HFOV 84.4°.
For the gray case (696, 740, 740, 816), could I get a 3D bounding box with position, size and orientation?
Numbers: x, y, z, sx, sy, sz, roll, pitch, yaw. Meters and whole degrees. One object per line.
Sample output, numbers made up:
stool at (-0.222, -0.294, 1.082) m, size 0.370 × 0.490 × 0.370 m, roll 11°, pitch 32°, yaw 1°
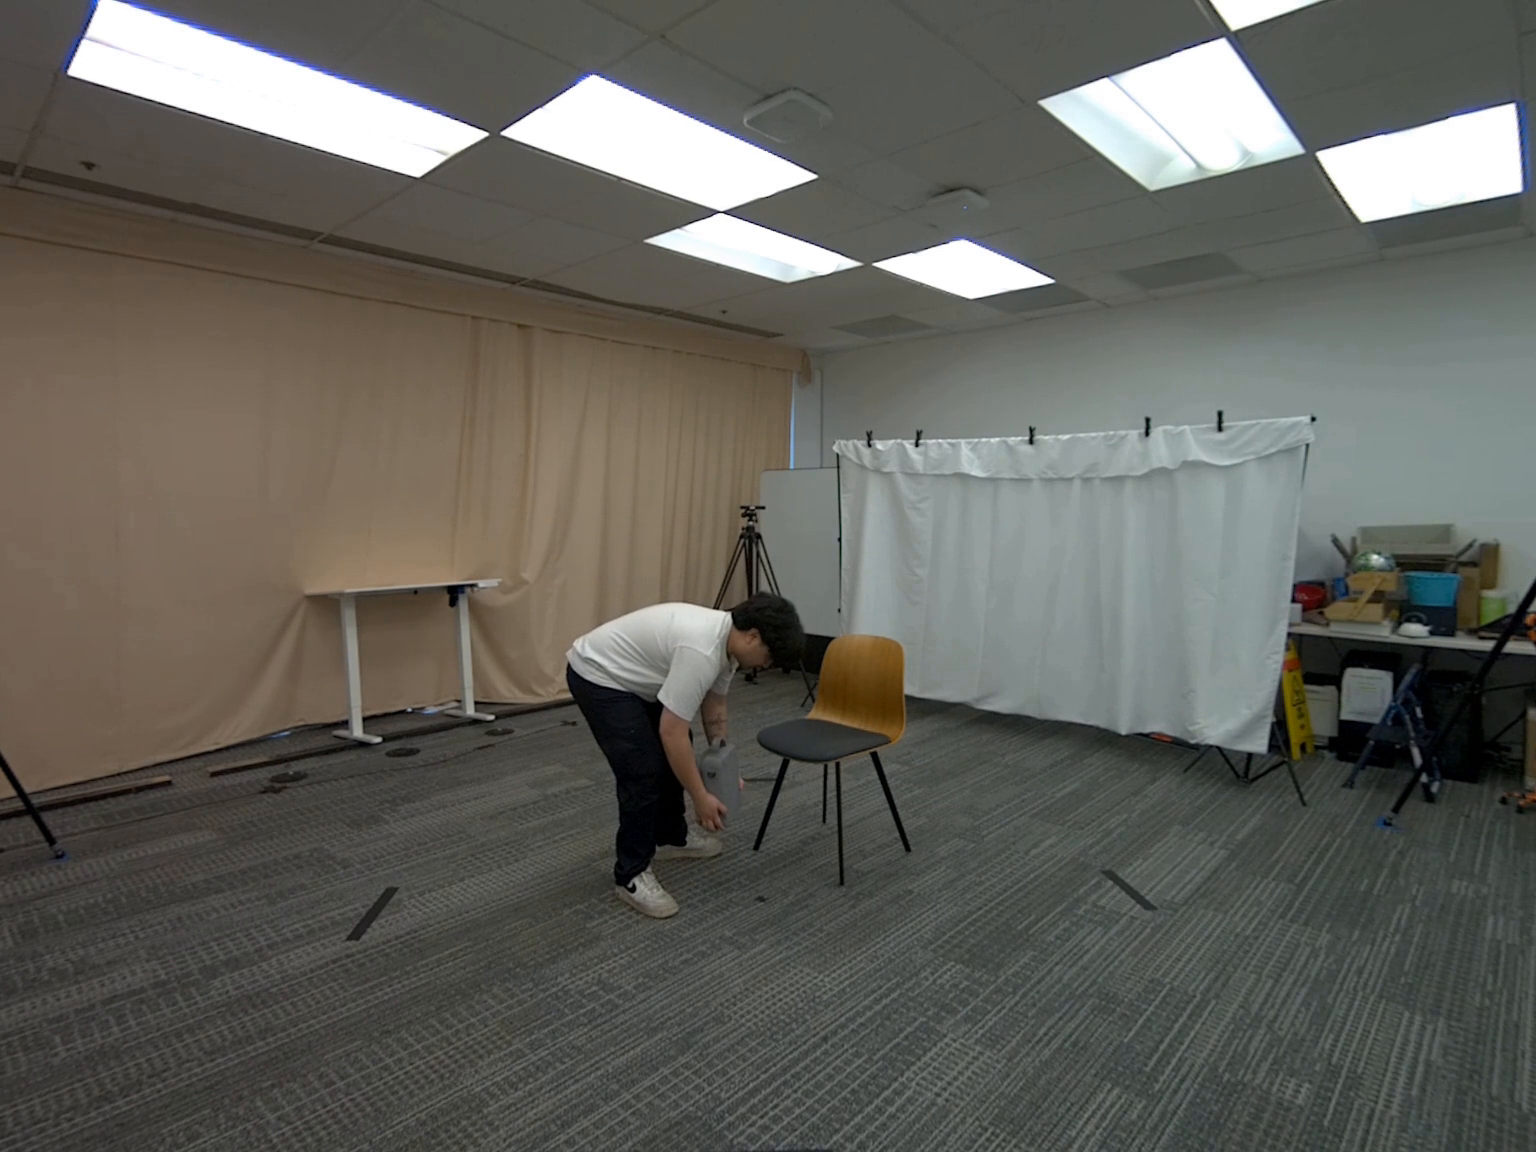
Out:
gray case at (-0.182, 0.749, 3.060) m, size 0.106 × 0.260 × 0.254 m, roll 0°, pitch 3°, yaw 10°
